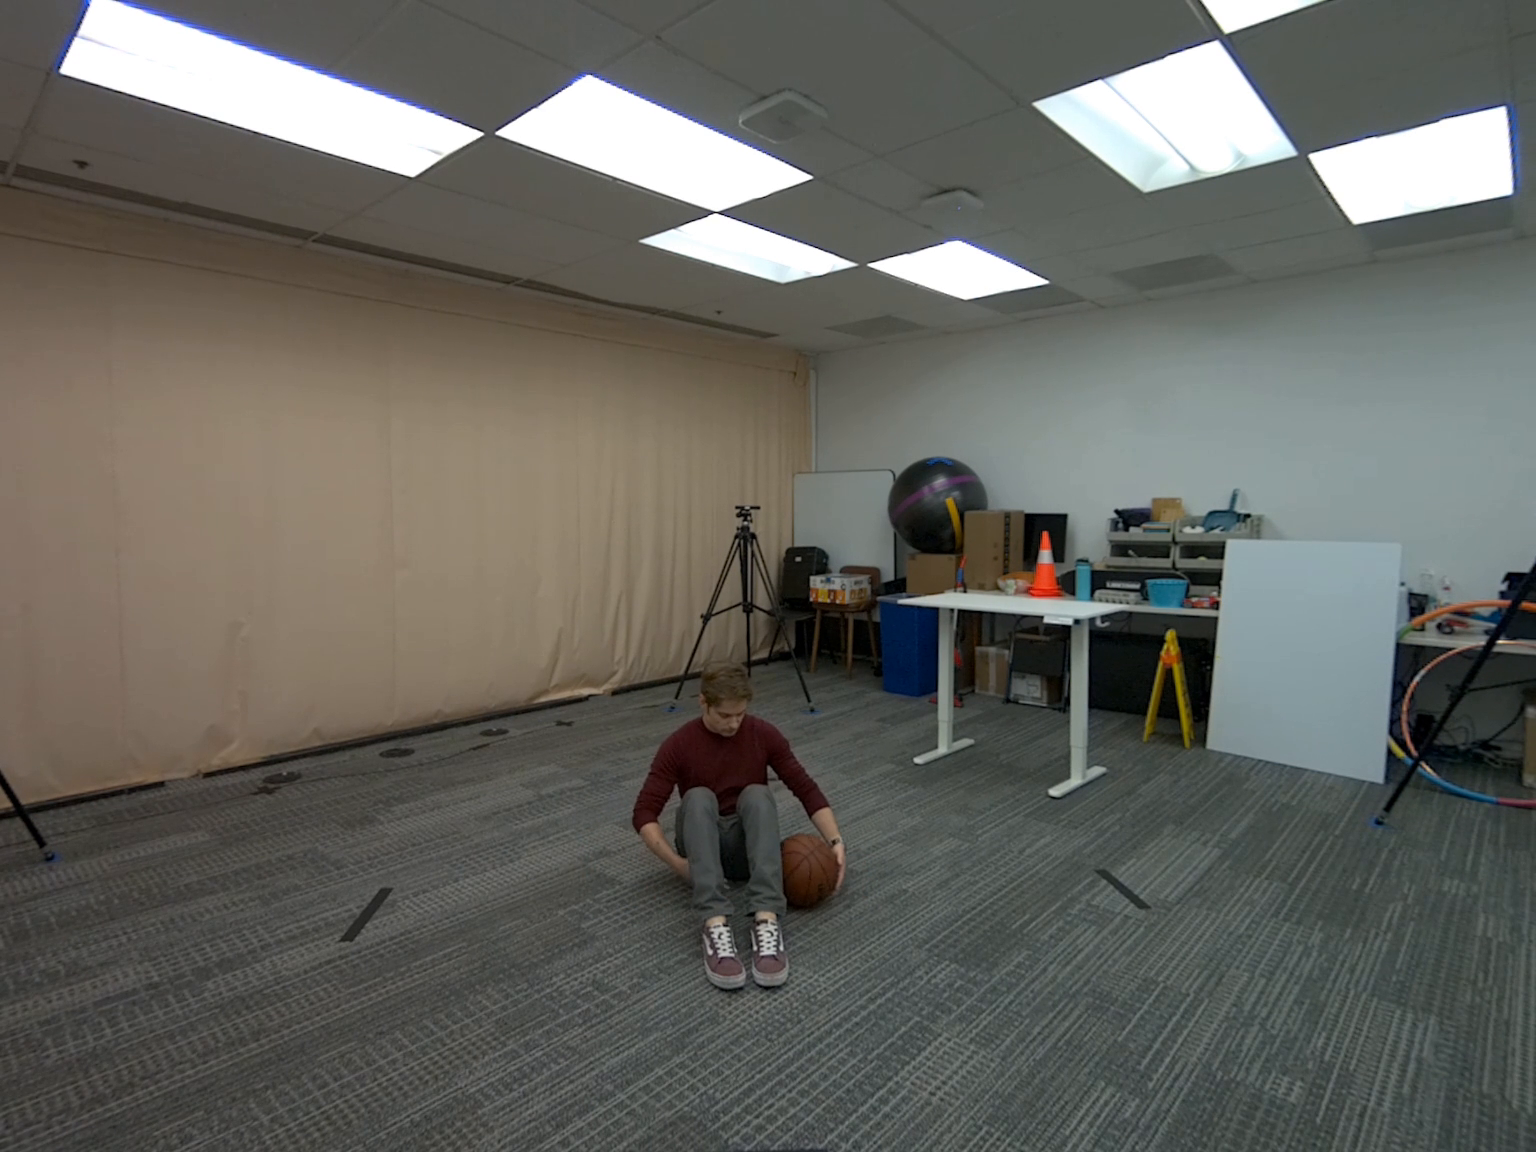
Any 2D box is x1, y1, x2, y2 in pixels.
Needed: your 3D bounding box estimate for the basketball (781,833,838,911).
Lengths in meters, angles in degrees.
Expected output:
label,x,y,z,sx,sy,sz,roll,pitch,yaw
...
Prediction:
label,x,y,z,sx,sy,sz,roll,pitch,yaw
basketball,0.115,1.021,2.939,0.236,0.235,0.237,0,4,-2
